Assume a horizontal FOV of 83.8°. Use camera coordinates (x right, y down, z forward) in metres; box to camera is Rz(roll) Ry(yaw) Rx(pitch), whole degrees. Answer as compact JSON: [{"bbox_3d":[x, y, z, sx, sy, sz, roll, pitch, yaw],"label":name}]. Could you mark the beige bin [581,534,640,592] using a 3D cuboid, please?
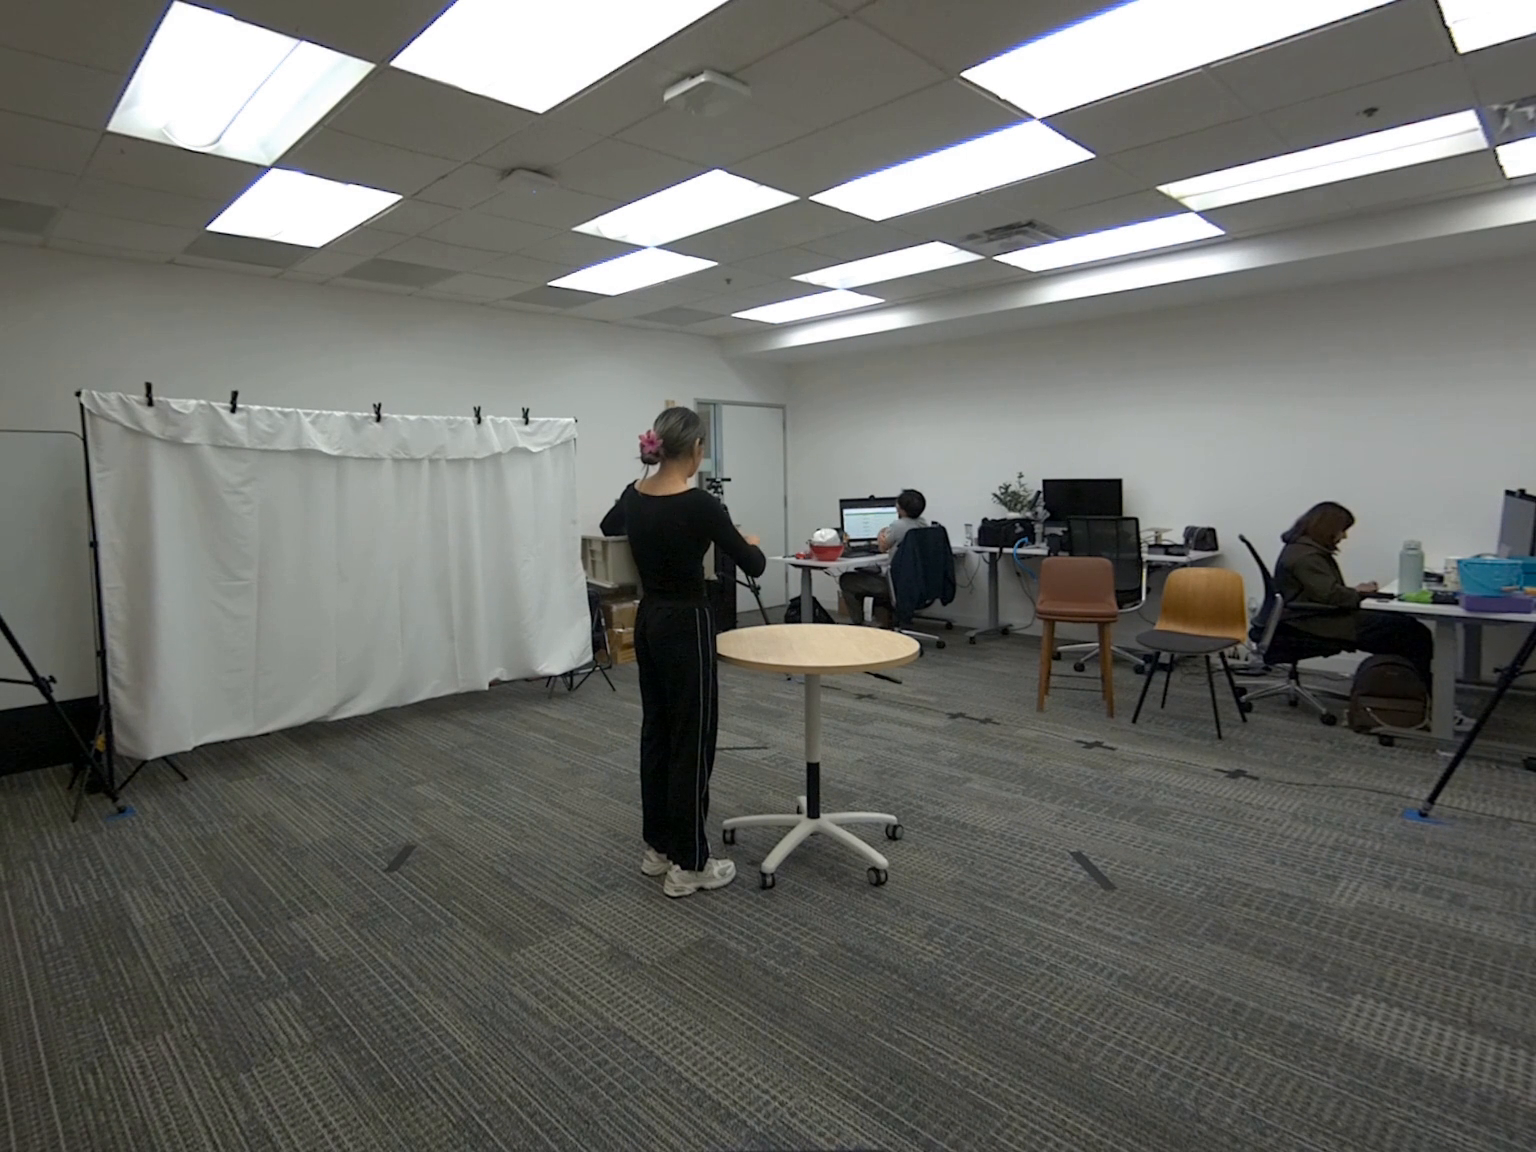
[{"bbox_3d":[-0.455,-0.074,3.222,0.414,0.188,0.387,-4,7,-24],"label":"beige bin"}]
